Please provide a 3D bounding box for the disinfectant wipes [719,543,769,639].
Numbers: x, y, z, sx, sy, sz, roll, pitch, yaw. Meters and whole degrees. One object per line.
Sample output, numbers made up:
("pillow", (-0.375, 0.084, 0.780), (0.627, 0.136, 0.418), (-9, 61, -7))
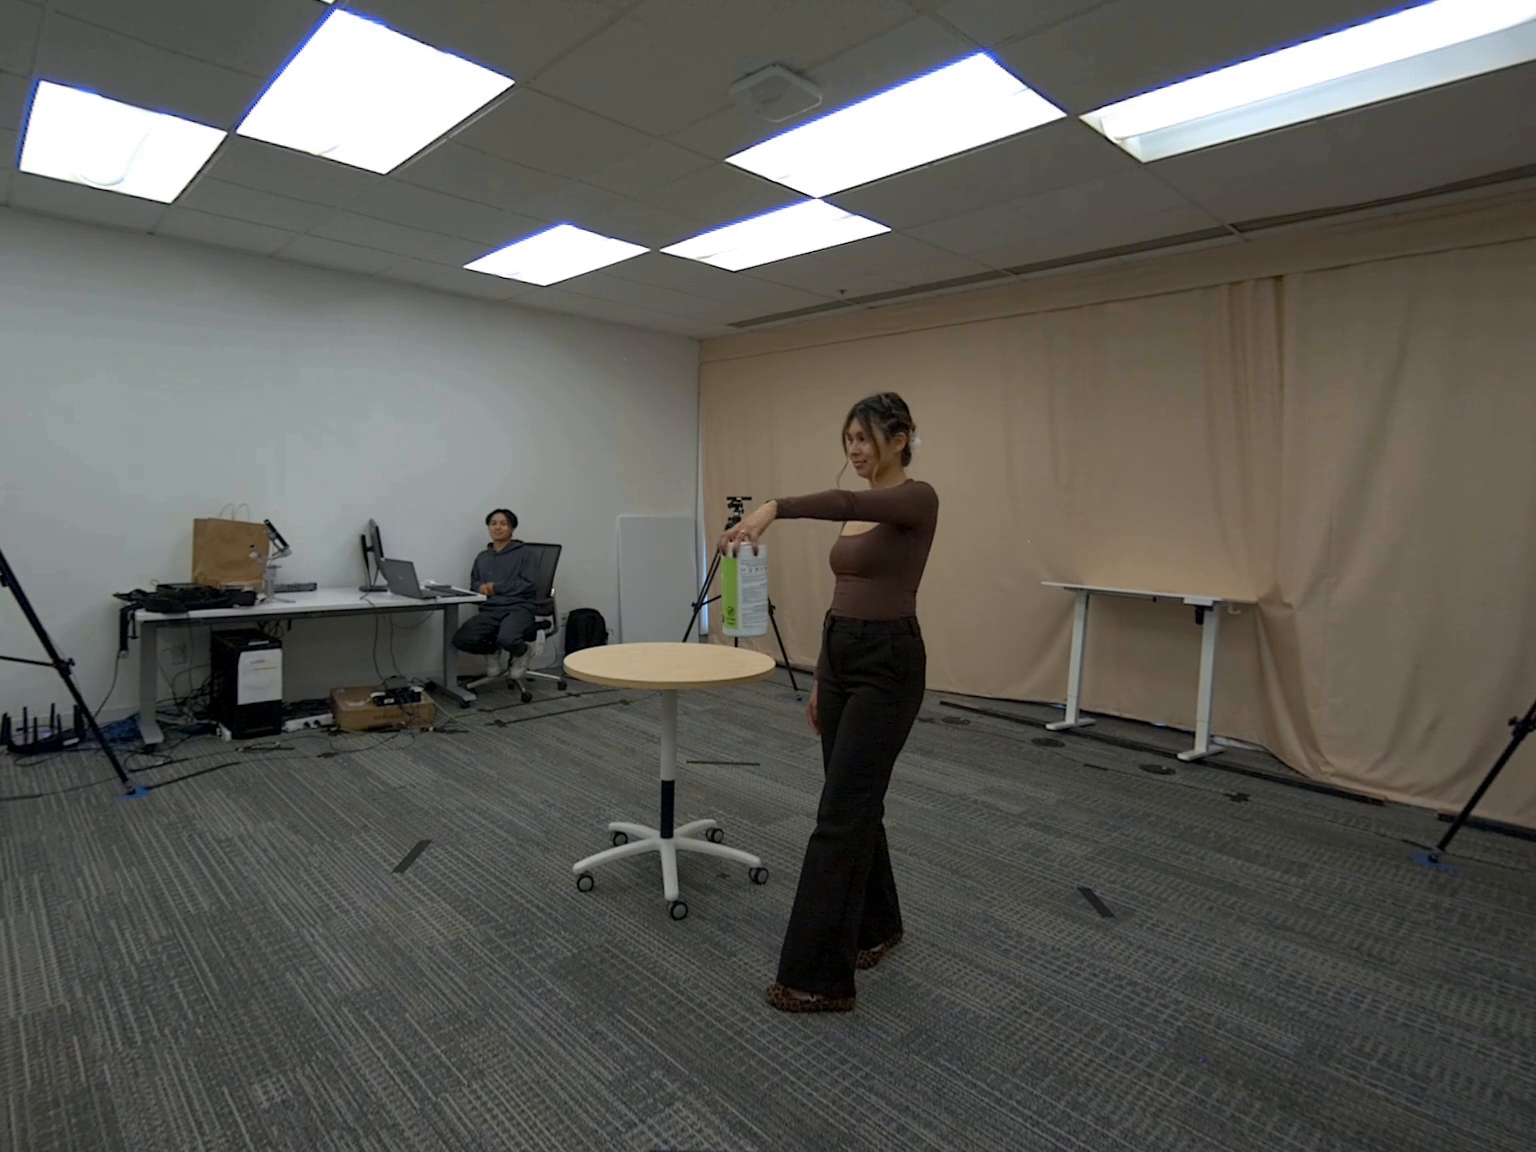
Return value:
("disinfectant wipes", (-0.061, 0.033, 1.982), (0.118, 0.217, 0.118), (-2, 5, -1))
